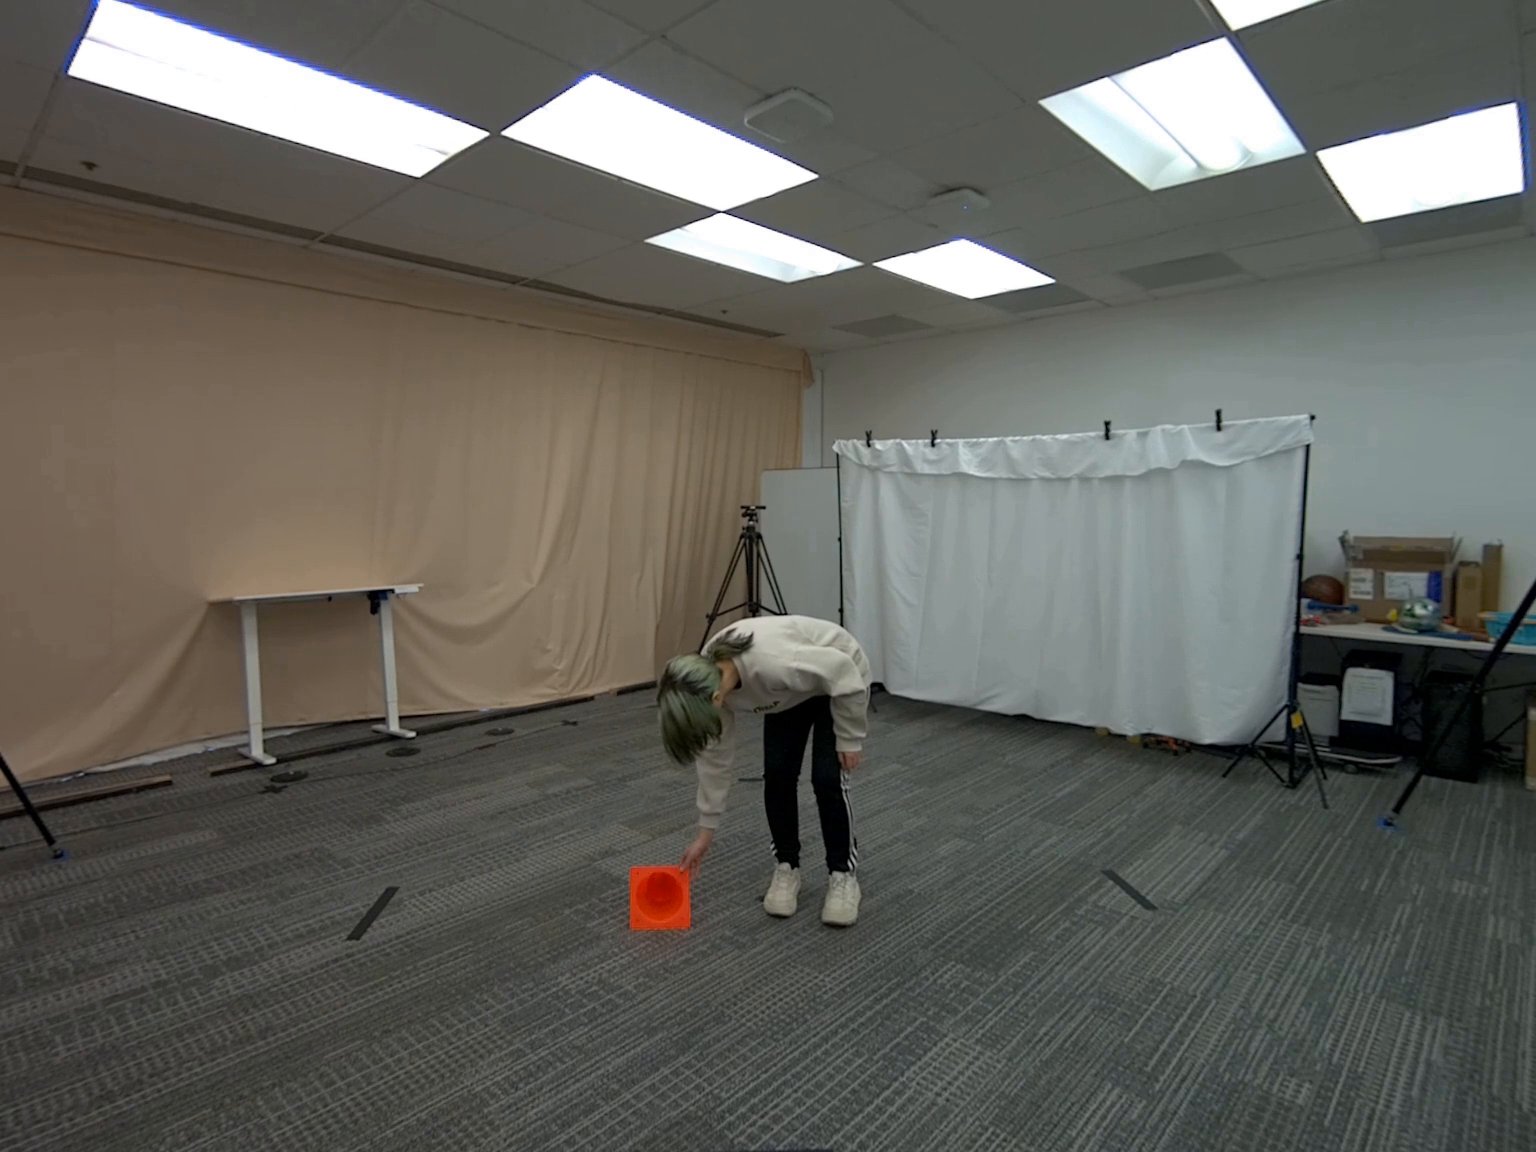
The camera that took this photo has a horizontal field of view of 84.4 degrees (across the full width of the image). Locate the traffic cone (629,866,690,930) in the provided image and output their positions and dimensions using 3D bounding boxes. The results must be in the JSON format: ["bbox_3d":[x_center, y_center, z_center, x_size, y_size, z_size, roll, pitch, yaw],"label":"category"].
[{"bbox_3d":[-0.375,1.098,2.976,0.204,0.204,0.384,0,-7,-6],"label":"traffic cone"}]
